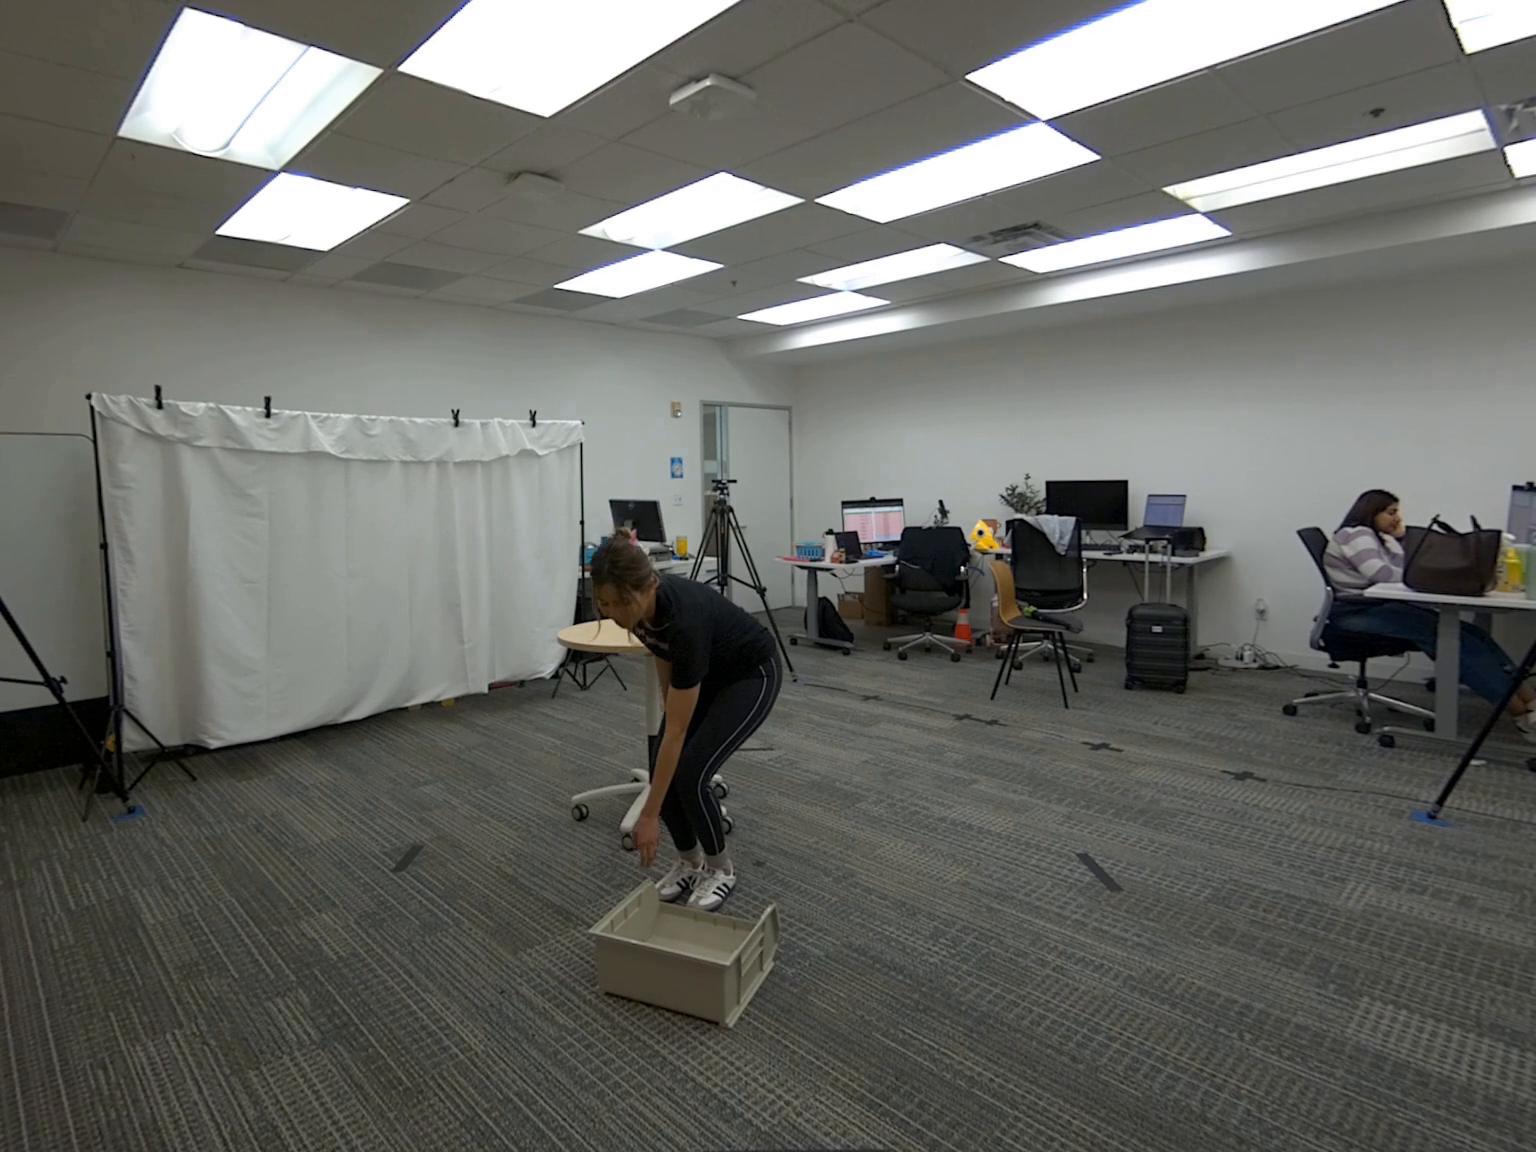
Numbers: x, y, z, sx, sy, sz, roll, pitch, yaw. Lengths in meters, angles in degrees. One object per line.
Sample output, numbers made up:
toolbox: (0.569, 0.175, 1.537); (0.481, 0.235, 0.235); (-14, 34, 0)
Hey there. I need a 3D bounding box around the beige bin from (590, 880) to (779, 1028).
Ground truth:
beige bin: (-0.222, 1.039, 2.420); (0.432, 0.188, 0.371); (2, 7, 24)
